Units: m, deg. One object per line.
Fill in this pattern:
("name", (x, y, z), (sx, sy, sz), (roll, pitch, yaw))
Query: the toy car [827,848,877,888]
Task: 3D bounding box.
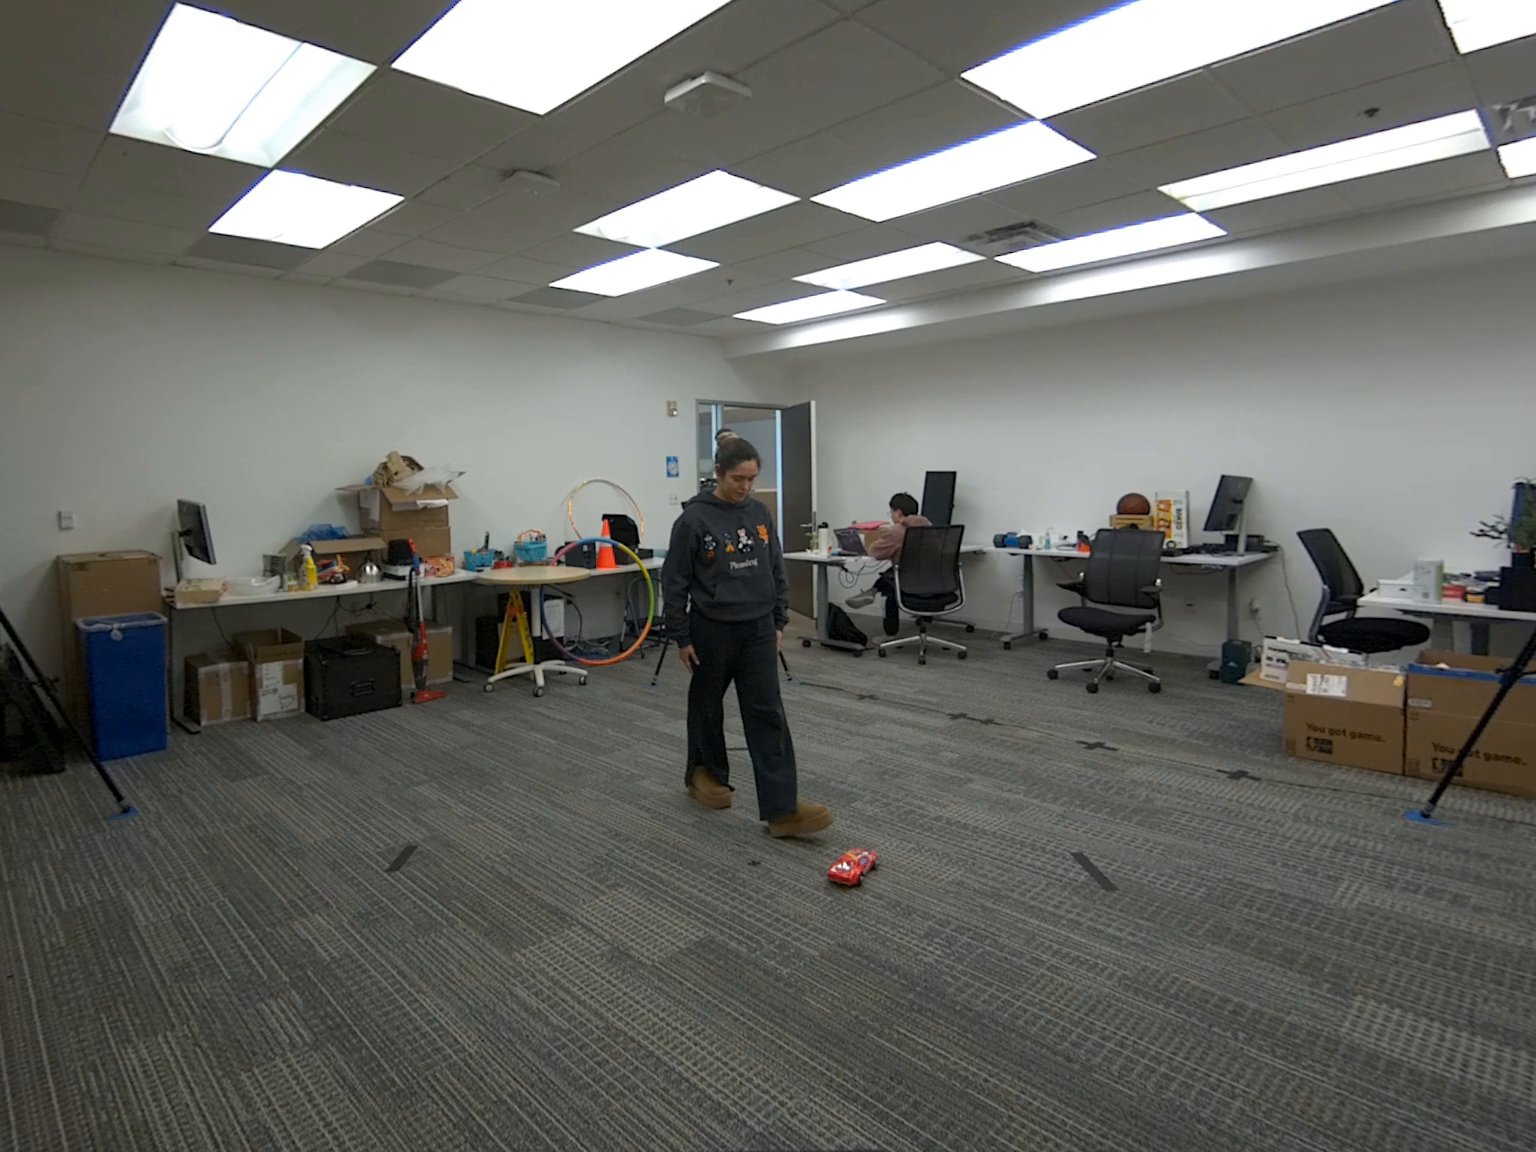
("toy car", (0.296, 1.021, 2.980), (0.134, 0.083, 0.247), (4, -3, 30))
